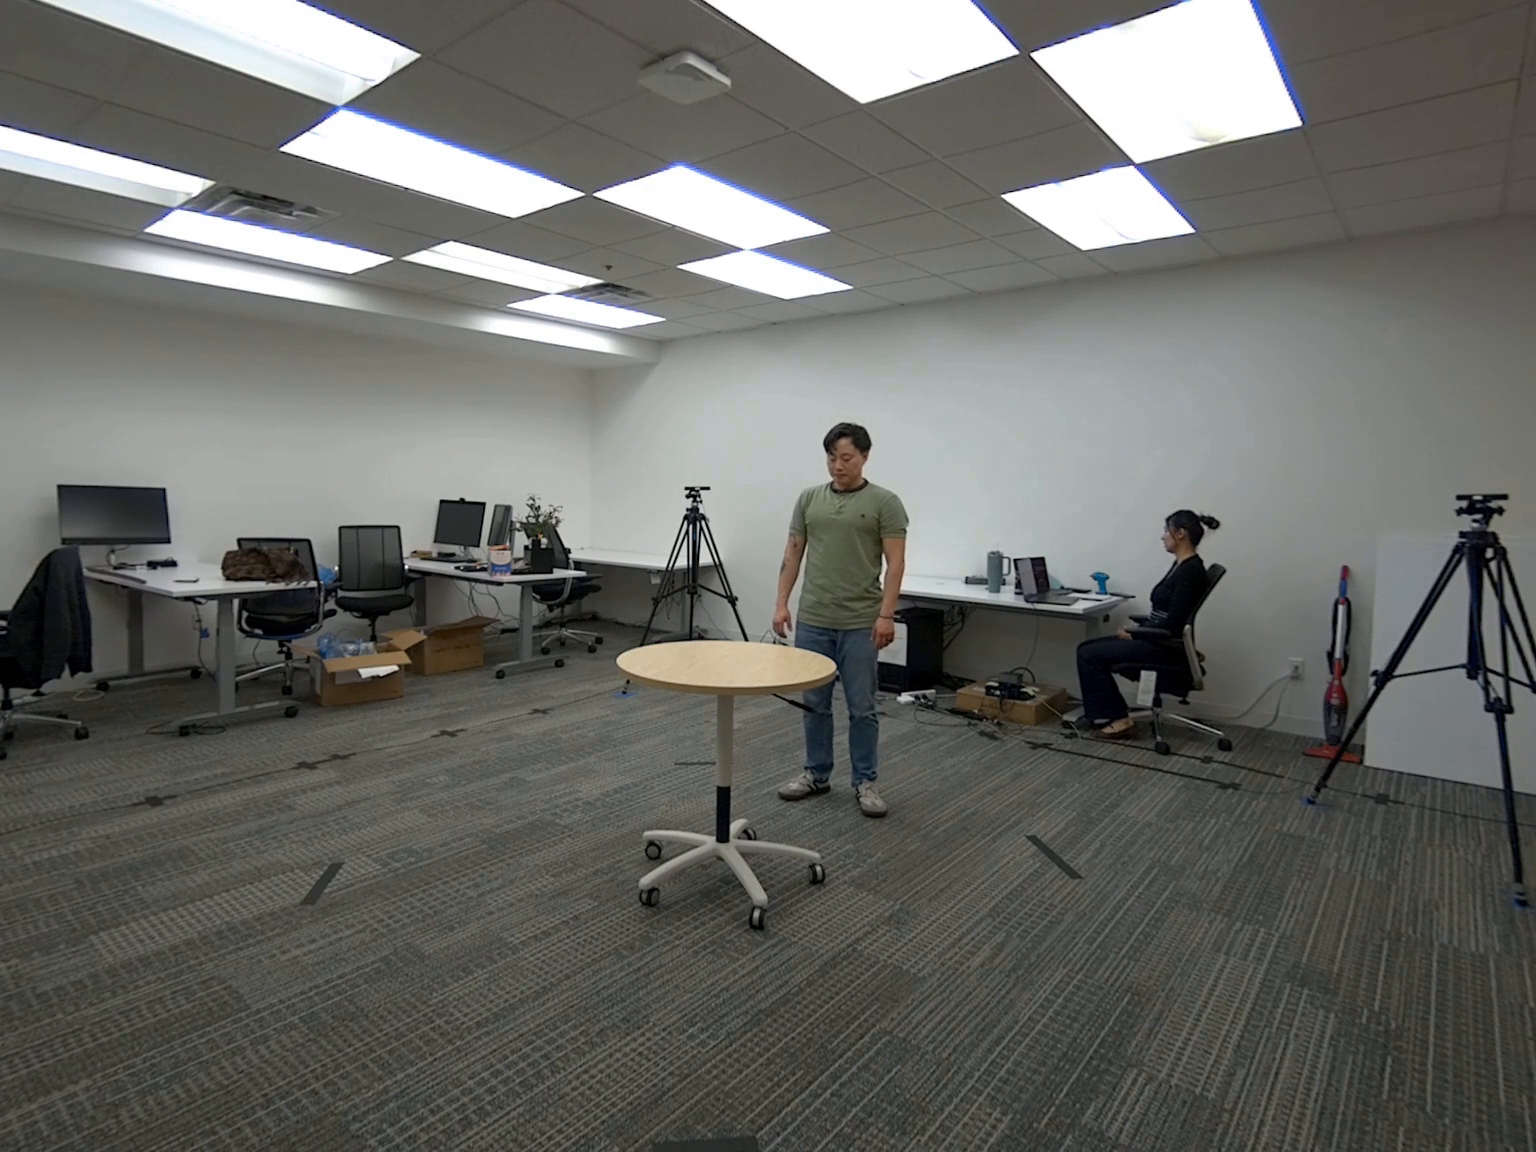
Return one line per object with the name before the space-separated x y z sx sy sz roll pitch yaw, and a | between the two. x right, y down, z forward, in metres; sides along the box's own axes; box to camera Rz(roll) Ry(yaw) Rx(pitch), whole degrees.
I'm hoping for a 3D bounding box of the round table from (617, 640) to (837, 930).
round table | -0.170 0.689 2.998 0.763 0.791 0.768 1 4 -2
